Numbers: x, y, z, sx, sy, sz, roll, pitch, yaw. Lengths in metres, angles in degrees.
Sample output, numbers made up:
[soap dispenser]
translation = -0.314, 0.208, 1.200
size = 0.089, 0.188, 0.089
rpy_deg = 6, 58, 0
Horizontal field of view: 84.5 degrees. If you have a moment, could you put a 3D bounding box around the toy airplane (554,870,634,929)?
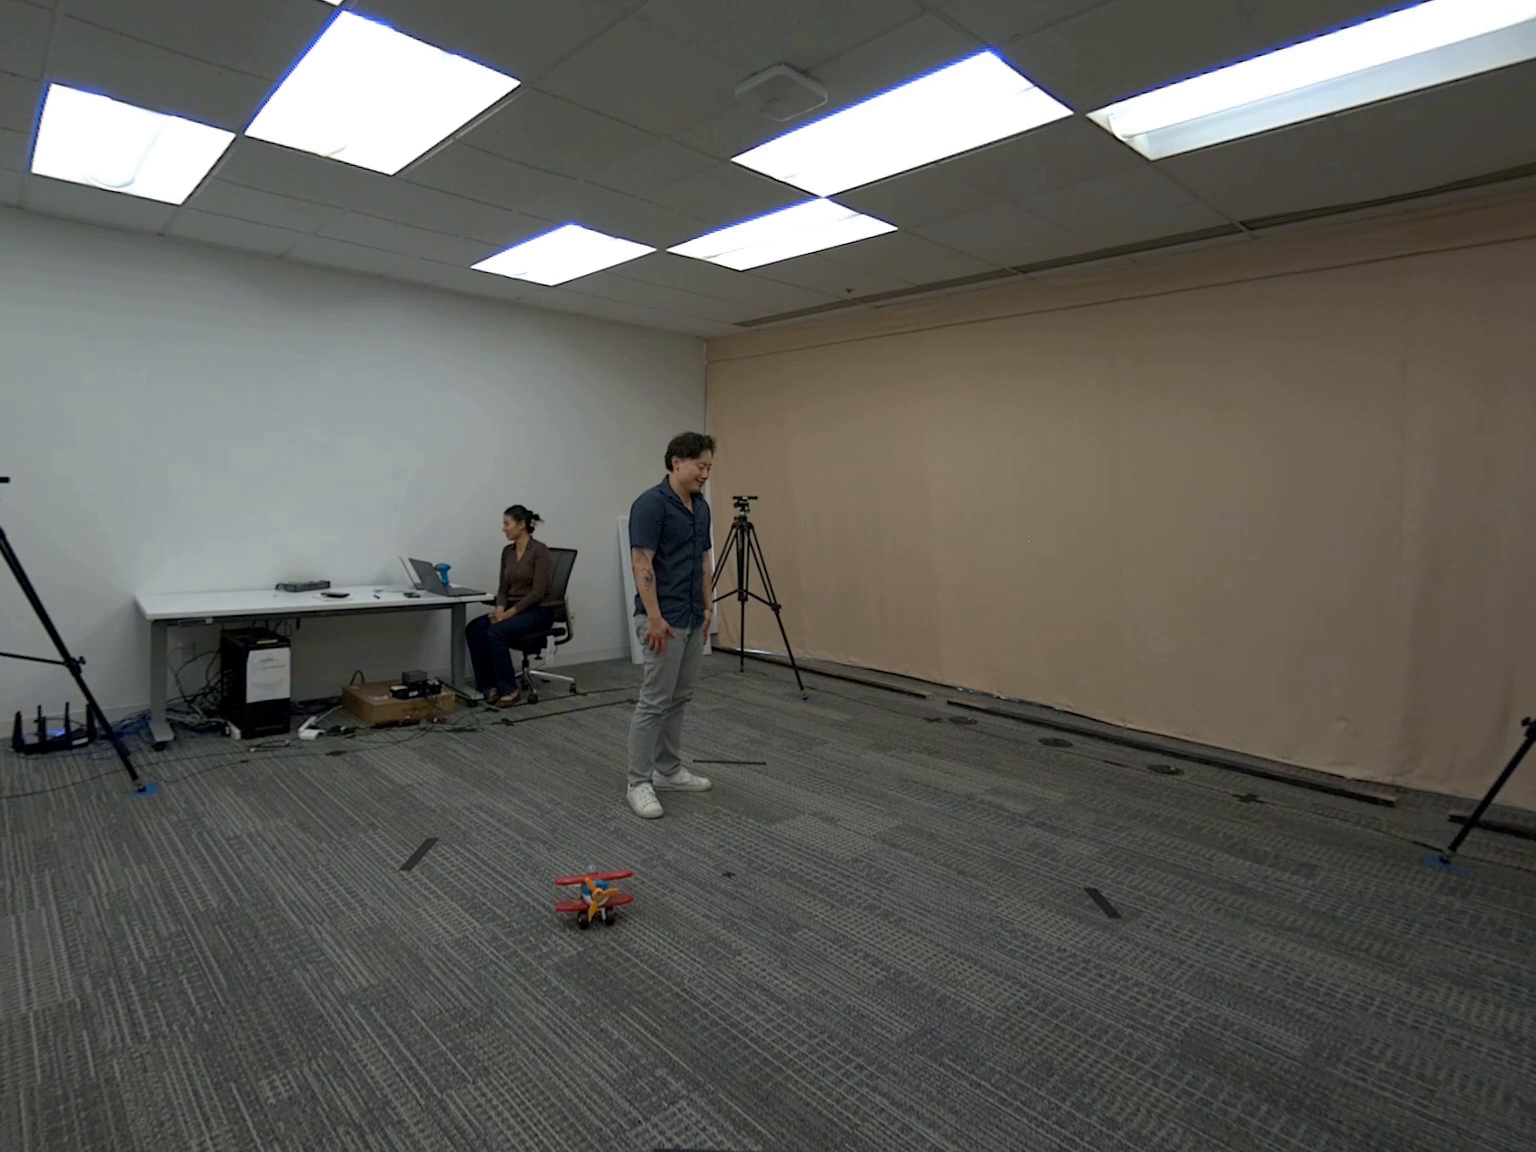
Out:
[toy airplane]
translation = -0.608, 1.049, 2.784
size = 0.266, 0.156, 0.245
rpy_deg = 8, 7, 43
